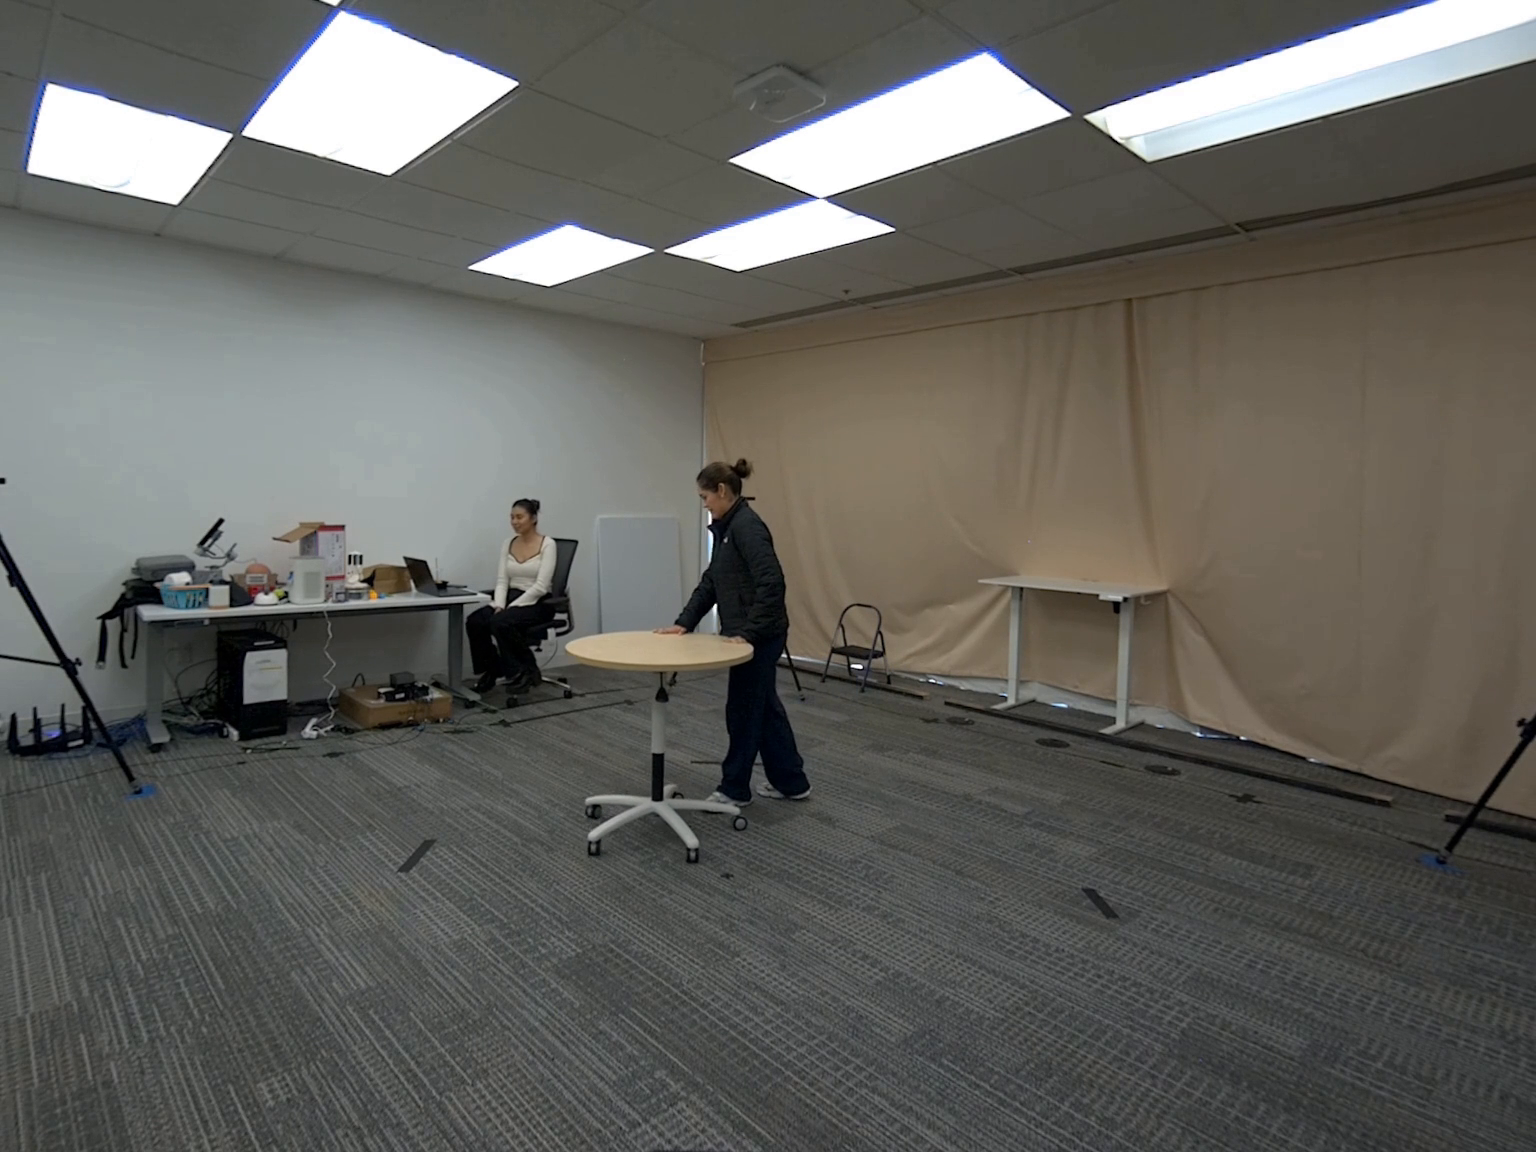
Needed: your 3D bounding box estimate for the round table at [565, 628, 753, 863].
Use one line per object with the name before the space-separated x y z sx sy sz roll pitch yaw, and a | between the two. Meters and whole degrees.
round table | -0.453 0.675 3.463 0.784 0.784 0.788 1 4 -1
